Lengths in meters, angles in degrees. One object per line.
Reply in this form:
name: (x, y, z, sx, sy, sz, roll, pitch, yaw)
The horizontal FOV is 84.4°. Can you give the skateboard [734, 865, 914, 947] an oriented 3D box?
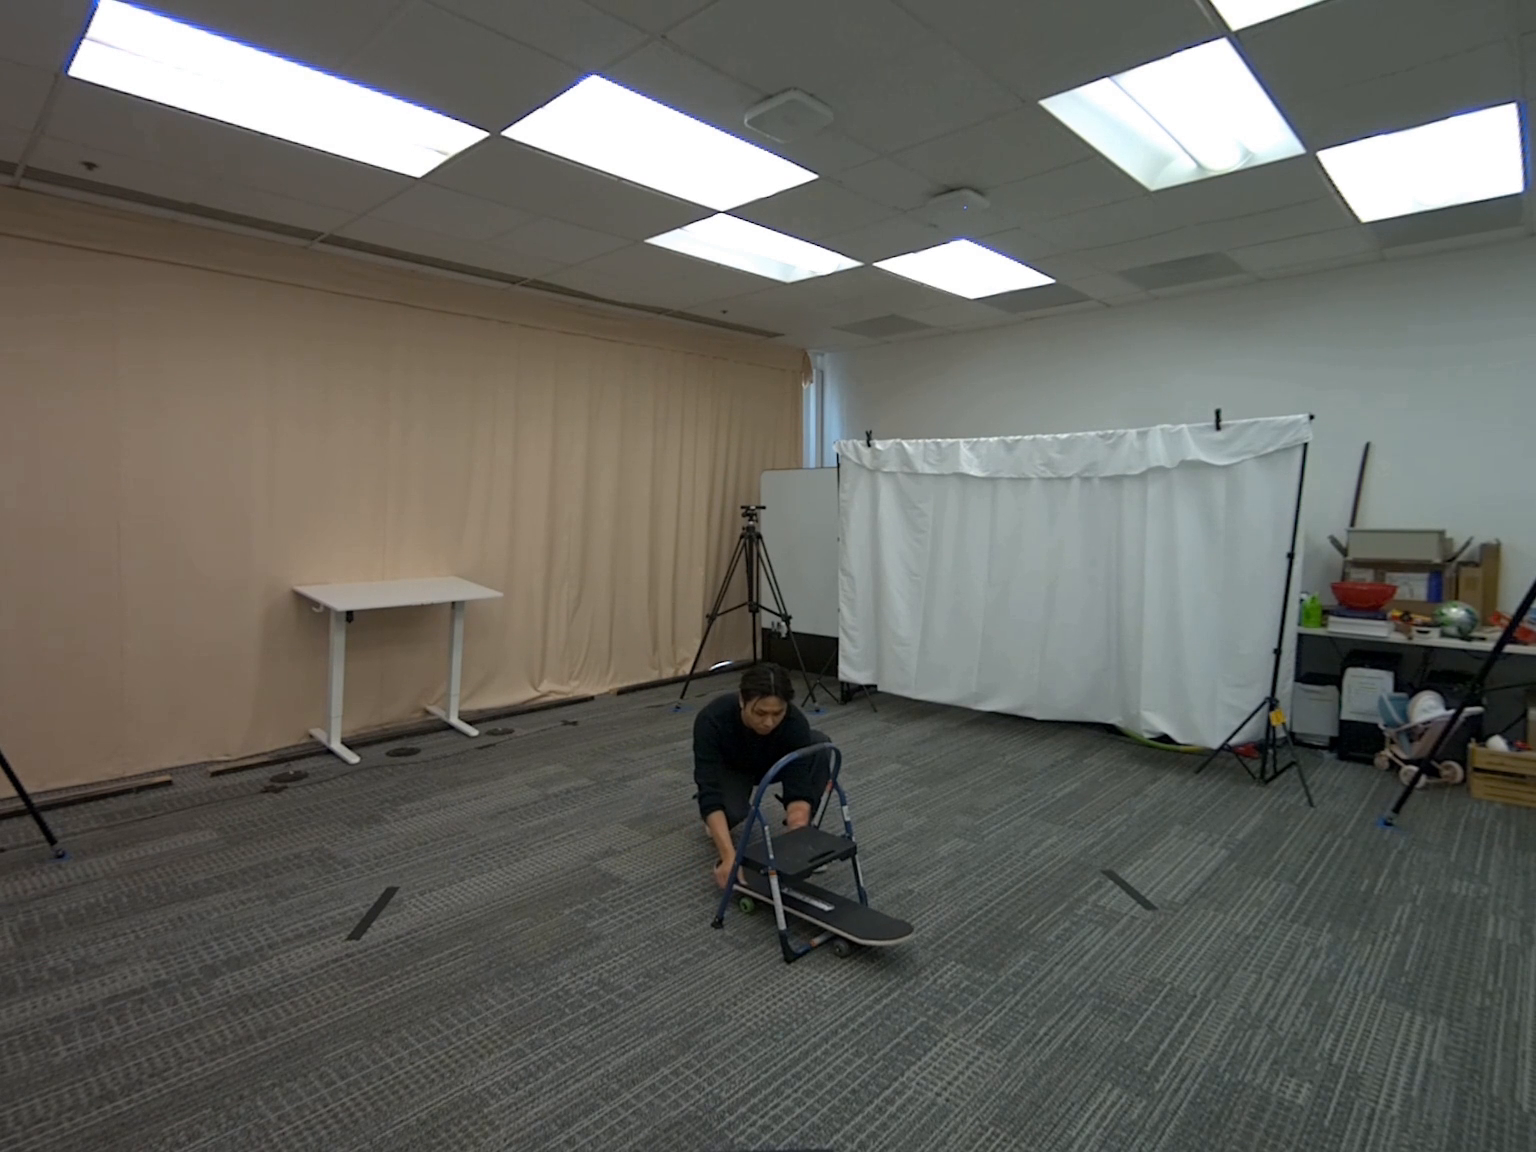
skateboard: (0.135, 1.096, 2.796, 0.812, 0.110, 0.187, 4, 7, 43)
